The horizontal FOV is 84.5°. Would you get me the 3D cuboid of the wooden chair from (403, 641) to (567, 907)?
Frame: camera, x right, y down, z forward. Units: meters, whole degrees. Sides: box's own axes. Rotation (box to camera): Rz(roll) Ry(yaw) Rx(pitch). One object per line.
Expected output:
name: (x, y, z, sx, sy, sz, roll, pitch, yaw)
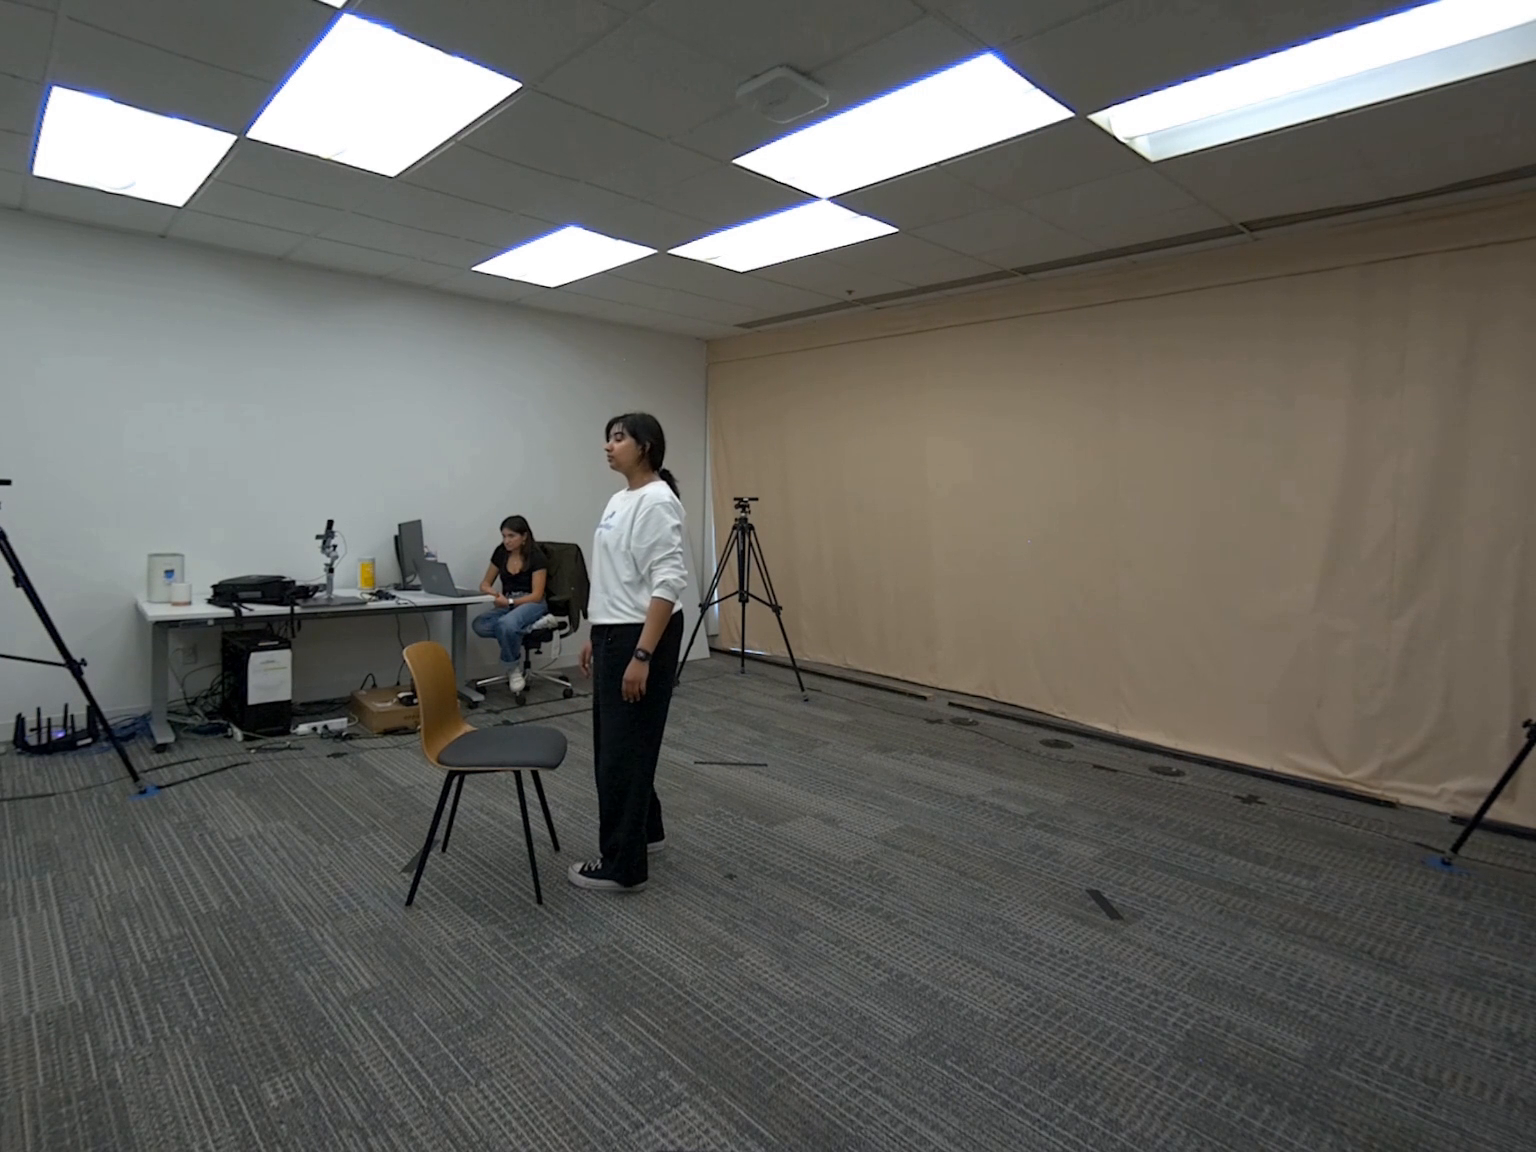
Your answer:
wooden chair: (-0.997, 0.667, 3.028, 0.521, 0.875, 0.481, -3, 3, -4)
